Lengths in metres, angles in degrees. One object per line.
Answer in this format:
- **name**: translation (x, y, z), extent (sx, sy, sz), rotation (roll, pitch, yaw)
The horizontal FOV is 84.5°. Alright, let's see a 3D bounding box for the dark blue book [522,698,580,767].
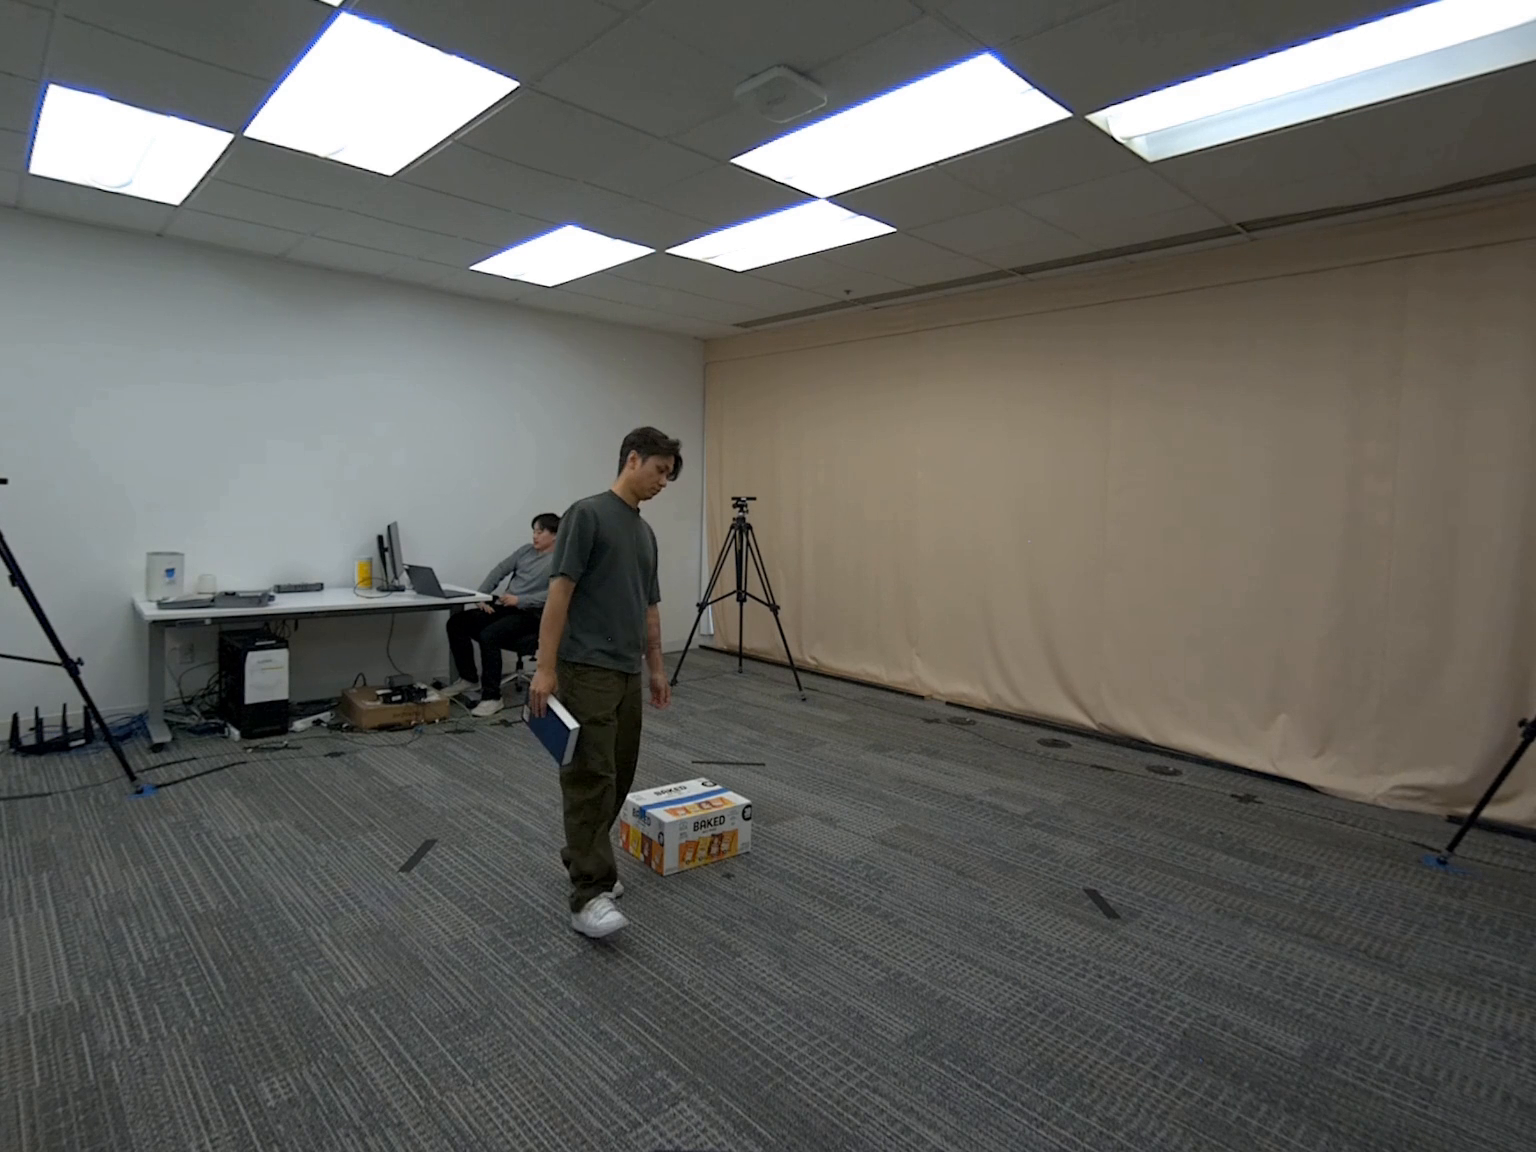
- **dark blue book**: translation (-0.714, 0.472, 2.690), extent (0.044, 0.161, 0.252), rotation (-12, 41, -44)
